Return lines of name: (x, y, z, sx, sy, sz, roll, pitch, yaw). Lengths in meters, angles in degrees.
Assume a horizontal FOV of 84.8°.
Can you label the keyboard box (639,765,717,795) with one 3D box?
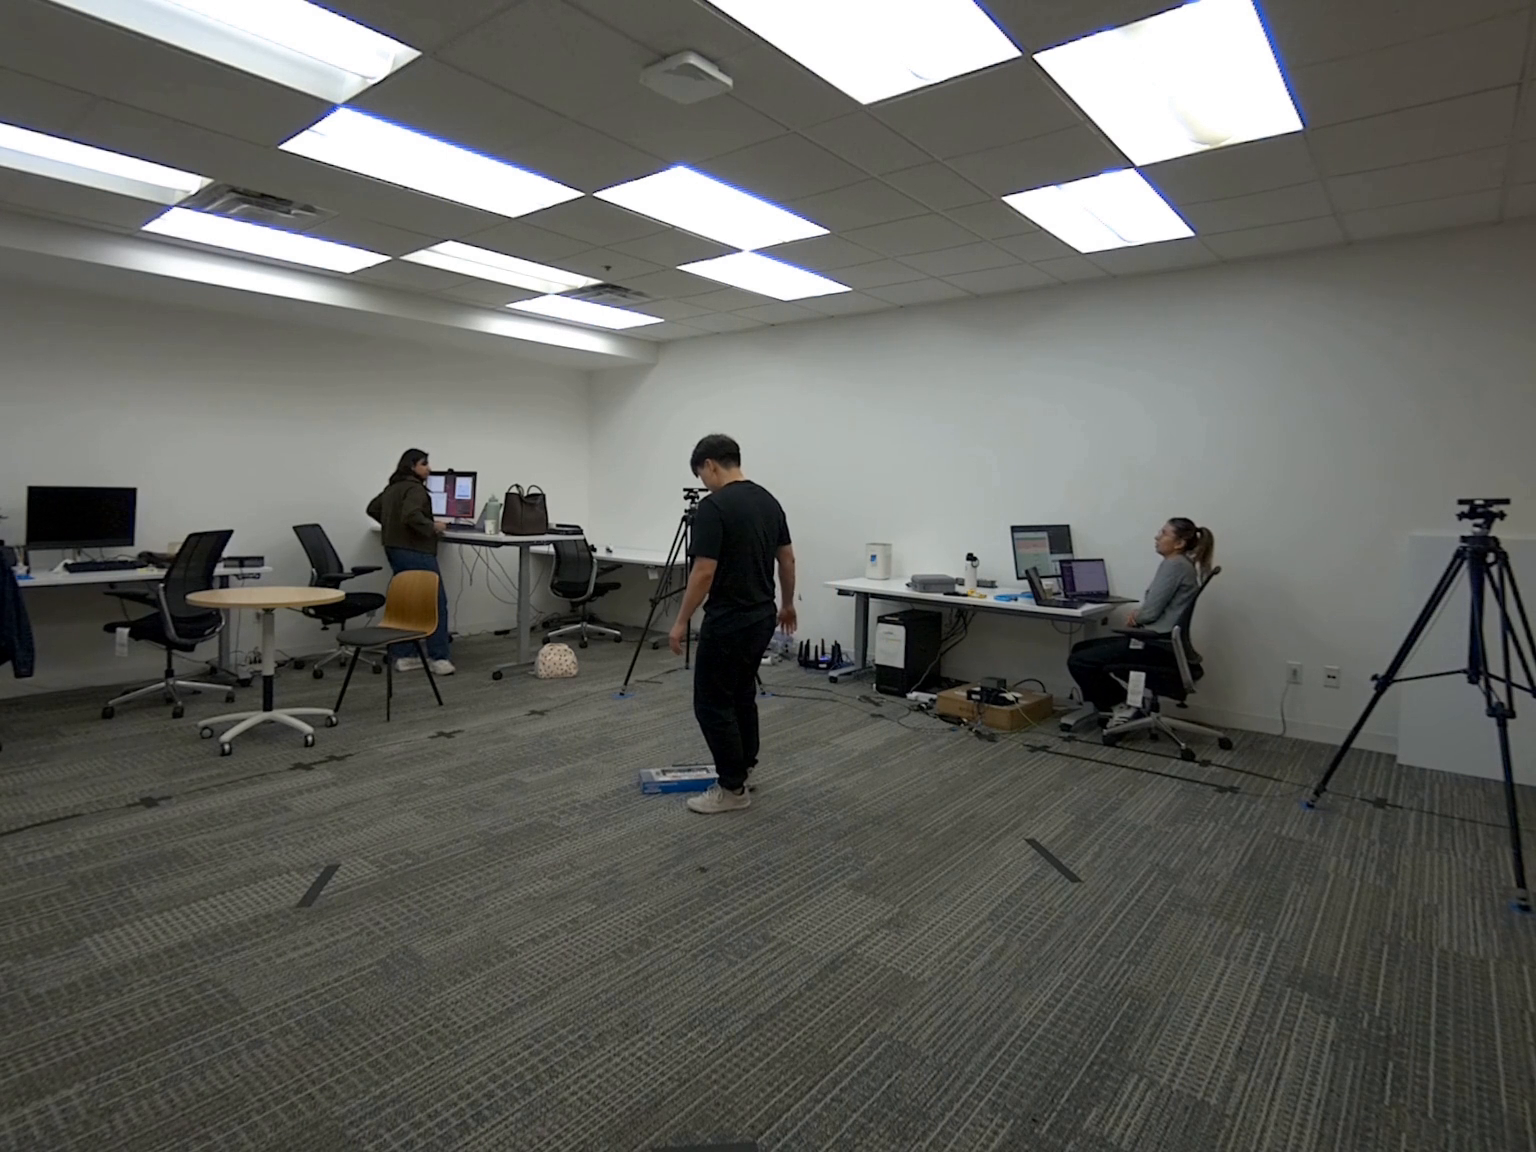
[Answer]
keyboard box: (-0.396, 0.953, 4.003, 0.430, 0.059, 0.179, -1, 5, -14)
